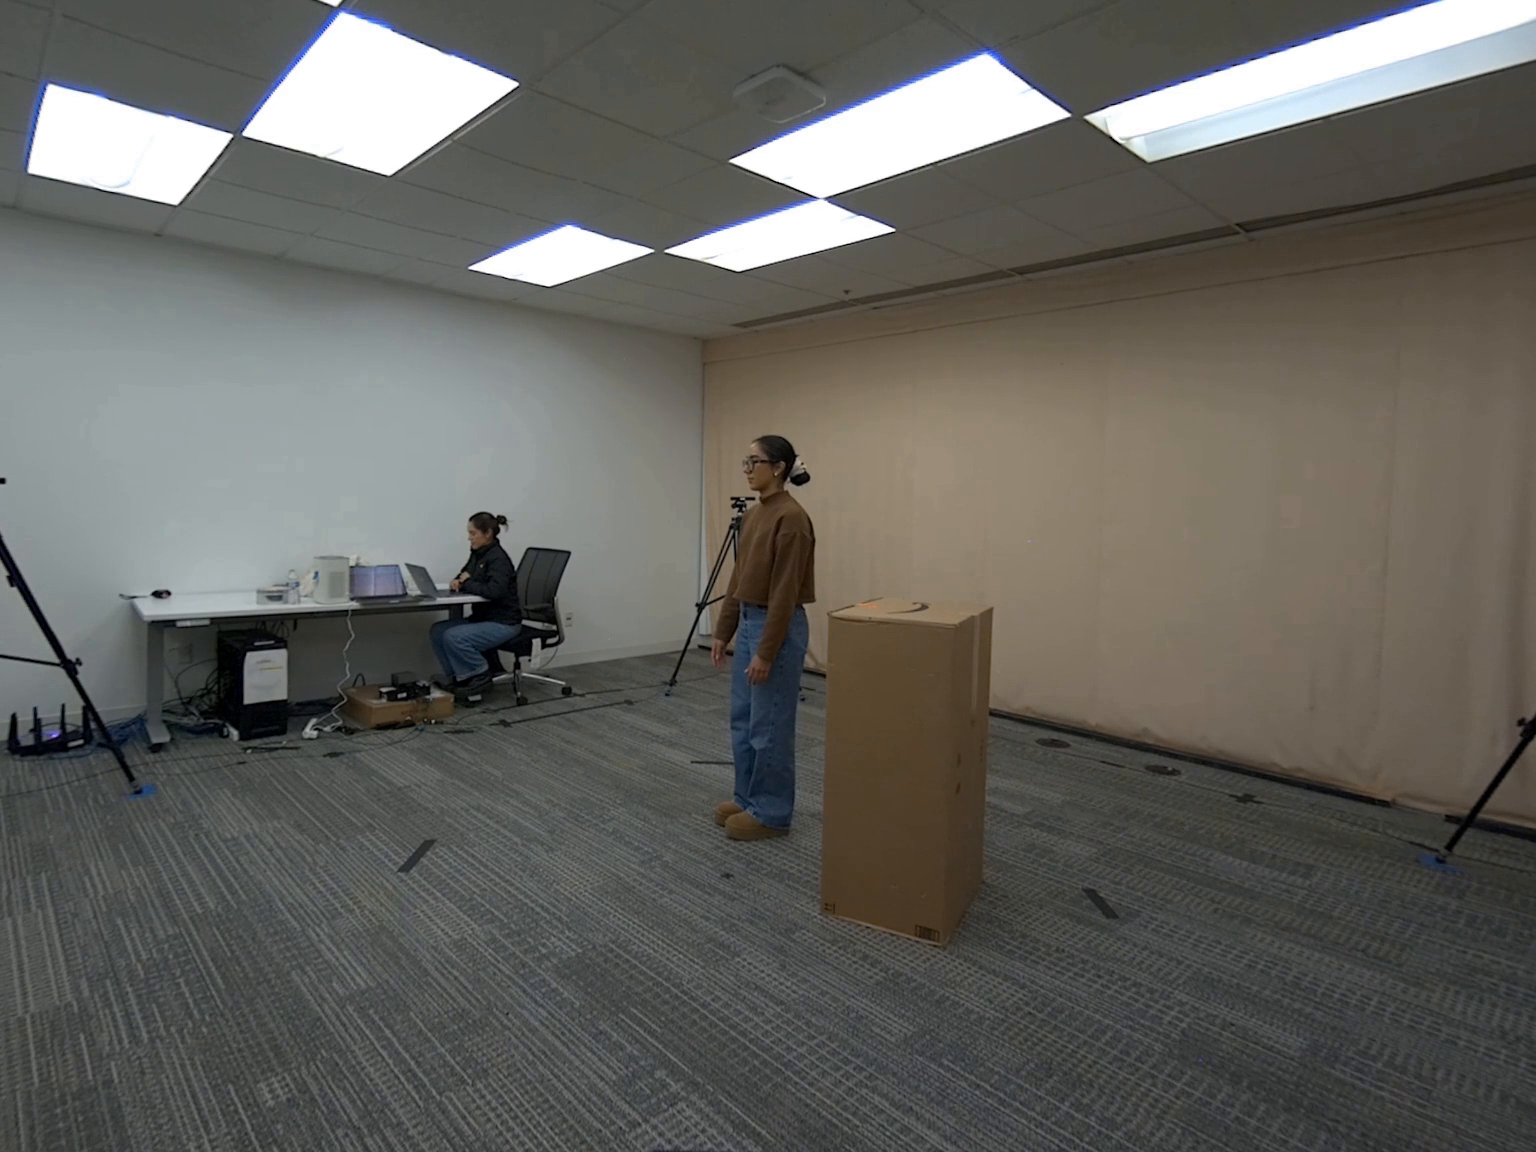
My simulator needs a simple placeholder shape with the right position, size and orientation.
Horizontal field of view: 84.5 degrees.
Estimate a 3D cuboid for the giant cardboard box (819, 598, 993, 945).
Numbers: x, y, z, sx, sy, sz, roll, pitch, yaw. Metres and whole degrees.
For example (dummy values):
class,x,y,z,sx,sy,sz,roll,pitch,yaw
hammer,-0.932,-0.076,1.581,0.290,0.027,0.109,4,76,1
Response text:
class,x,y,z,sx,sy,sz,roll,pitch,yaw
giant cardboard box,0.498,0.627,2.950,0.435,1.023,0.567,3,4,27
